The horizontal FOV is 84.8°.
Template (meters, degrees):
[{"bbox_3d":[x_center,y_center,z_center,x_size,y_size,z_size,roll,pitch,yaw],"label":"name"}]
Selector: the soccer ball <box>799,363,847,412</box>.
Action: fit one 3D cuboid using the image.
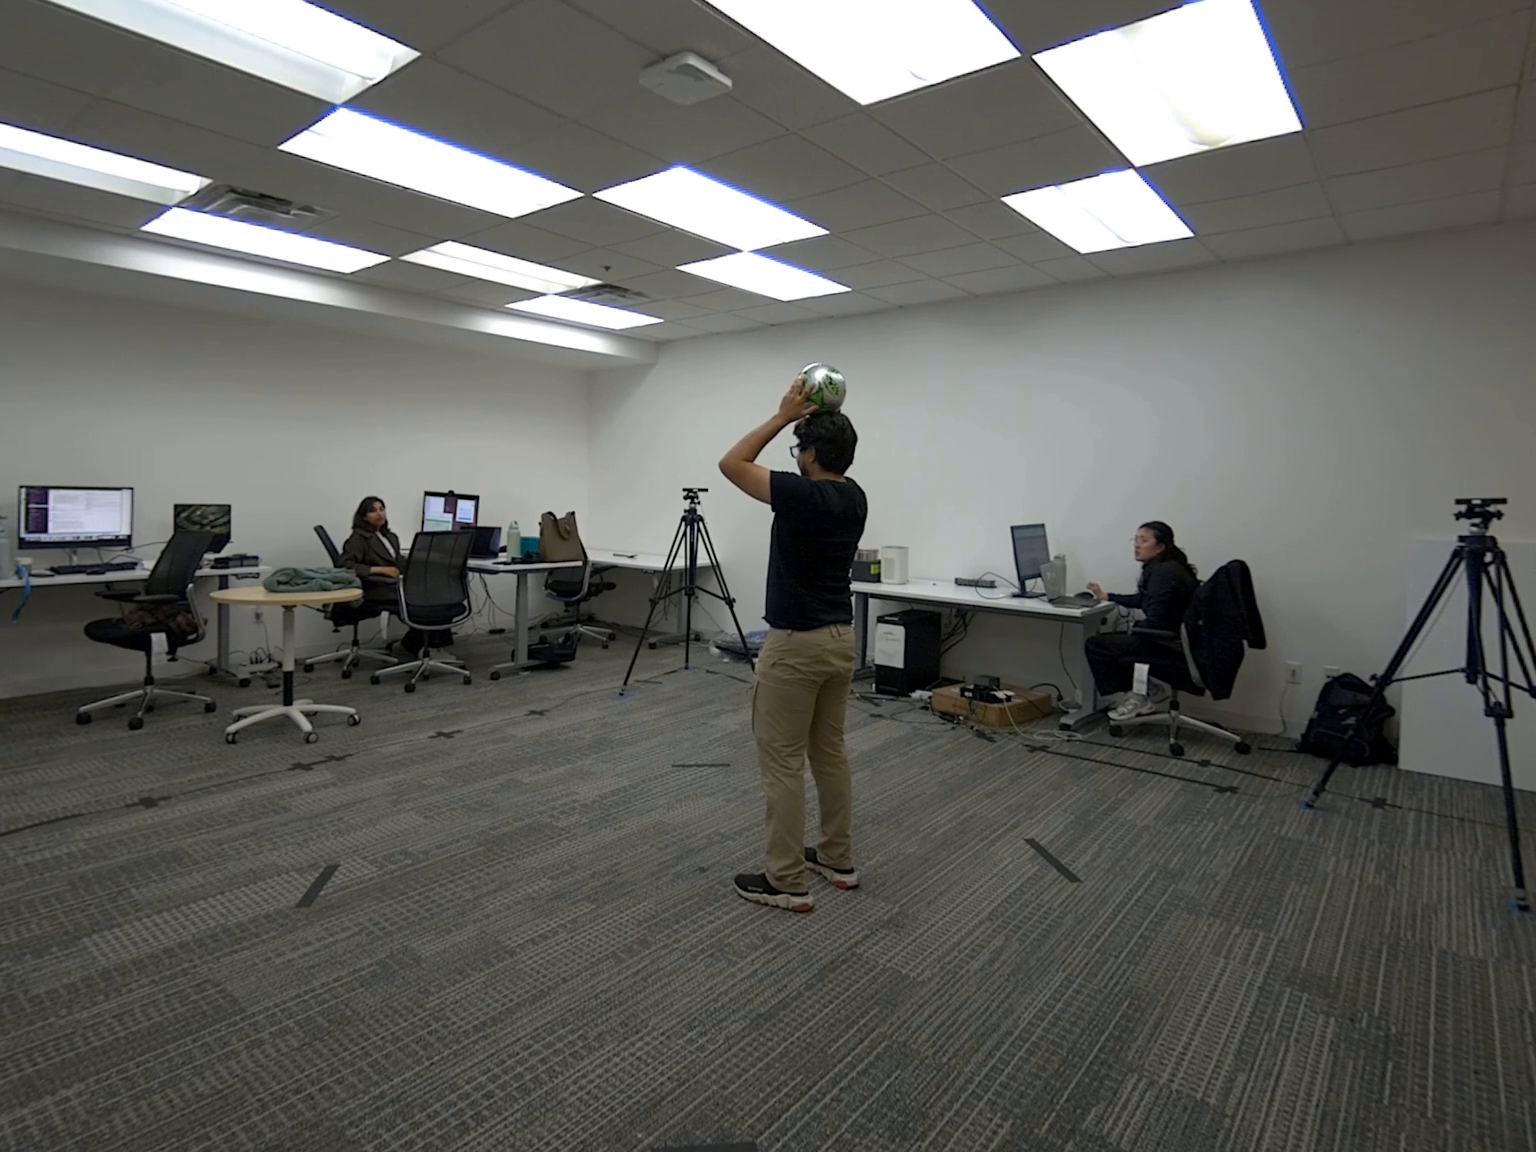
[{"bbox_3d":[0.172,-0.651,2.981,0.187,0.187,0.188,1,4,-2],"label":"soccer ball"}]
